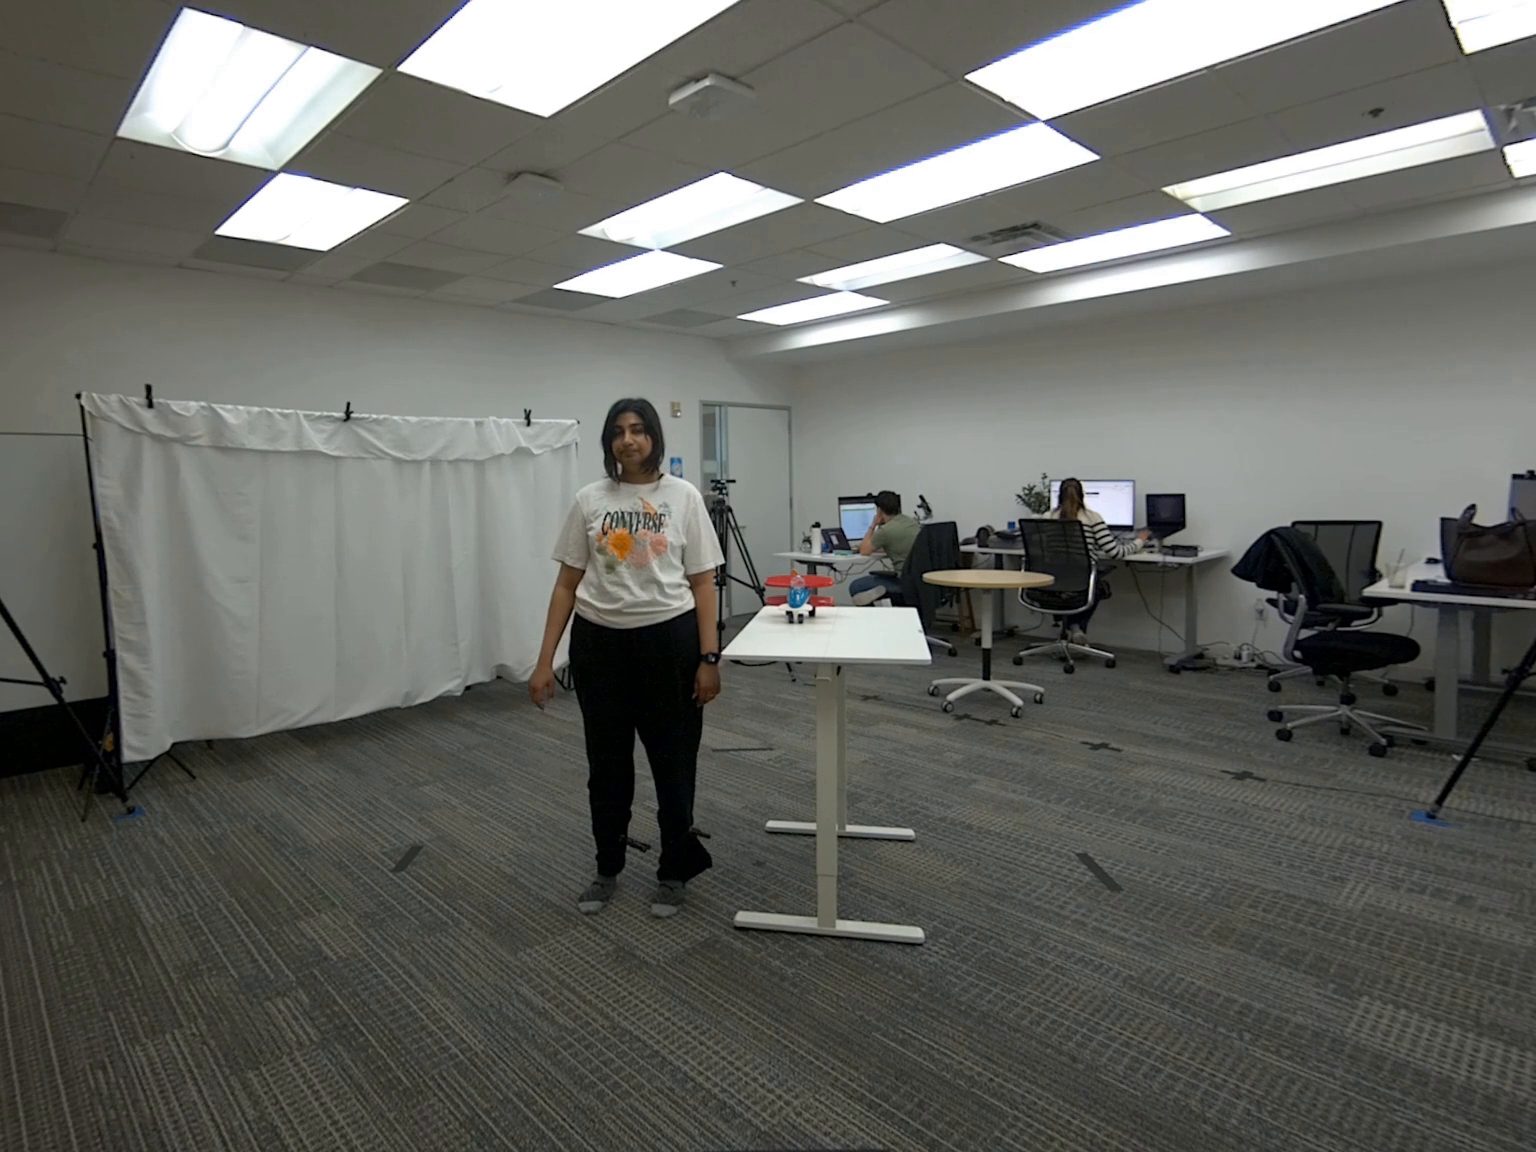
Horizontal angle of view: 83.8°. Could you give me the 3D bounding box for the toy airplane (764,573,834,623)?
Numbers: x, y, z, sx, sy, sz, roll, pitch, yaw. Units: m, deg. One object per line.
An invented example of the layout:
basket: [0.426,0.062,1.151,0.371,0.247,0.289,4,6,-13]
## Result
toy airplane: [0.132,0.080,3.138,0.247,0.156,0.264,-4,6,-19]
